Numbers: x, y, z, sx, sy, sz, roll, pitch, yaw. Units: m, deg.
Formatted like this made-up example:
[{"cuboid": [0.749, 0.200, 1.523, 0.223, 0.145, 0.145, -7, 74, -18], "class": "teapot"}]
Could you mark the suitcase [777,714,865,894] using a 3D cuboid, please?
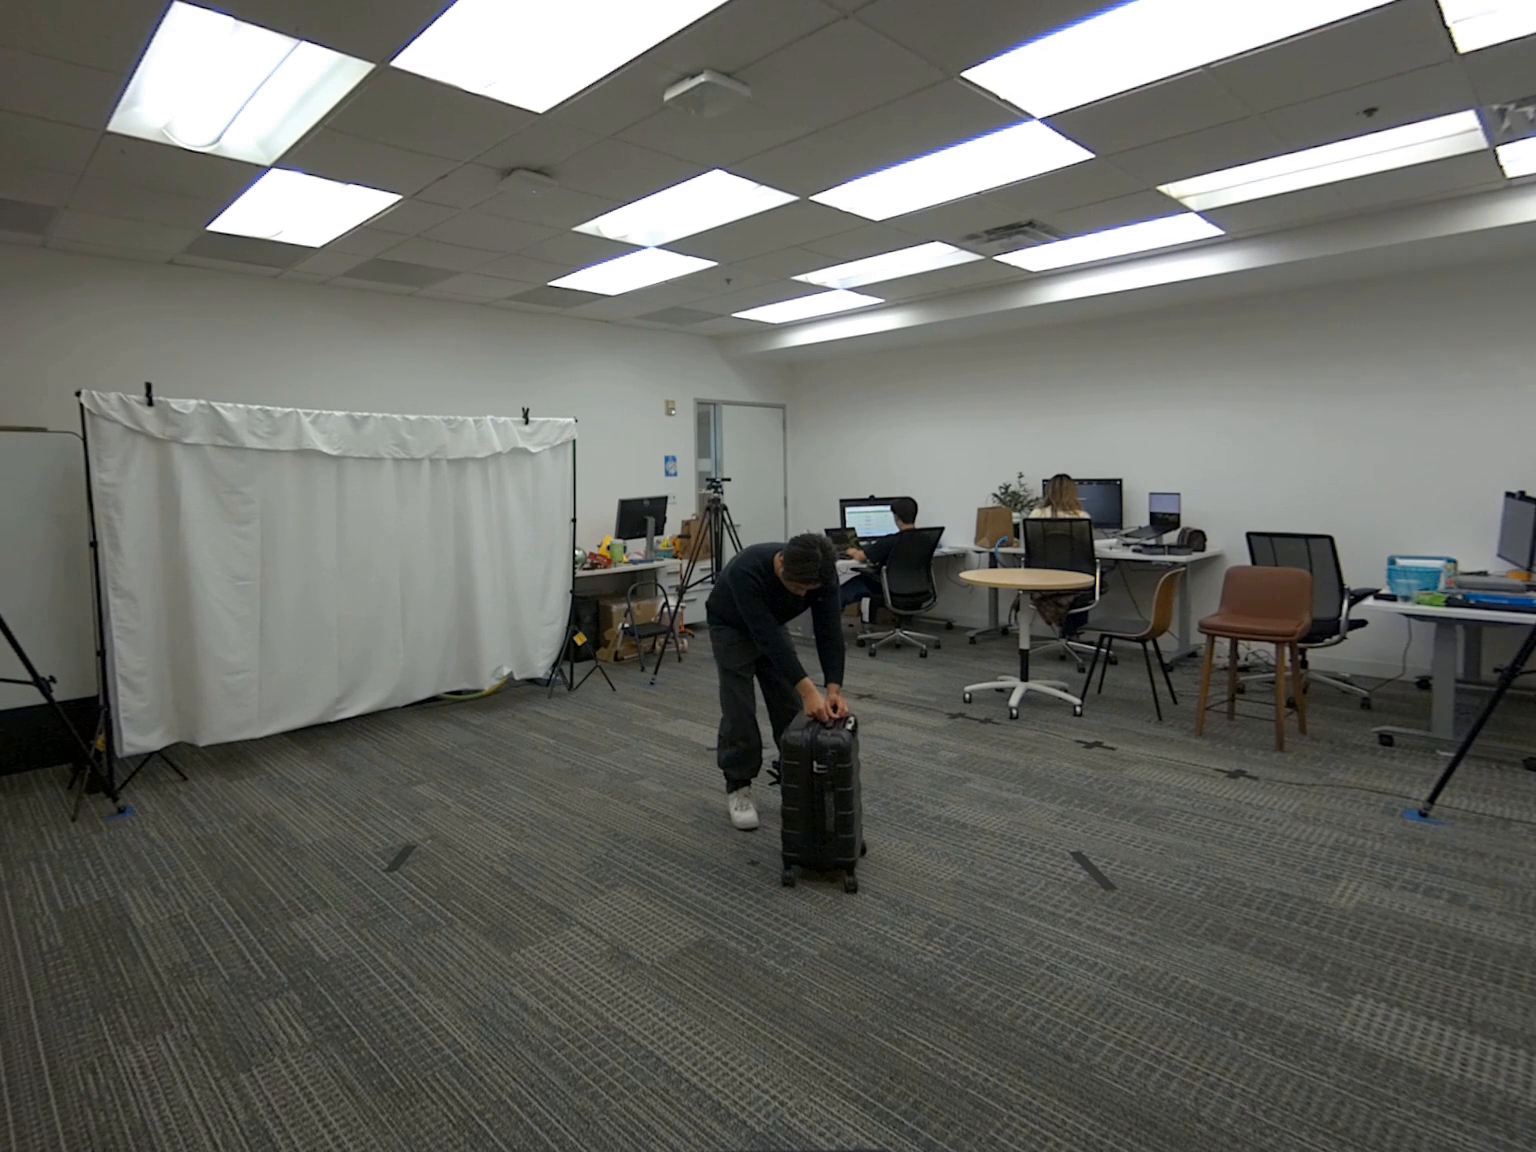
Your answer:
[{"cuboid": [0.206, 0.771, 3.050, 0.251, 0.548, 0.372, -1, 3, 10], "class": "suitcase"}]
